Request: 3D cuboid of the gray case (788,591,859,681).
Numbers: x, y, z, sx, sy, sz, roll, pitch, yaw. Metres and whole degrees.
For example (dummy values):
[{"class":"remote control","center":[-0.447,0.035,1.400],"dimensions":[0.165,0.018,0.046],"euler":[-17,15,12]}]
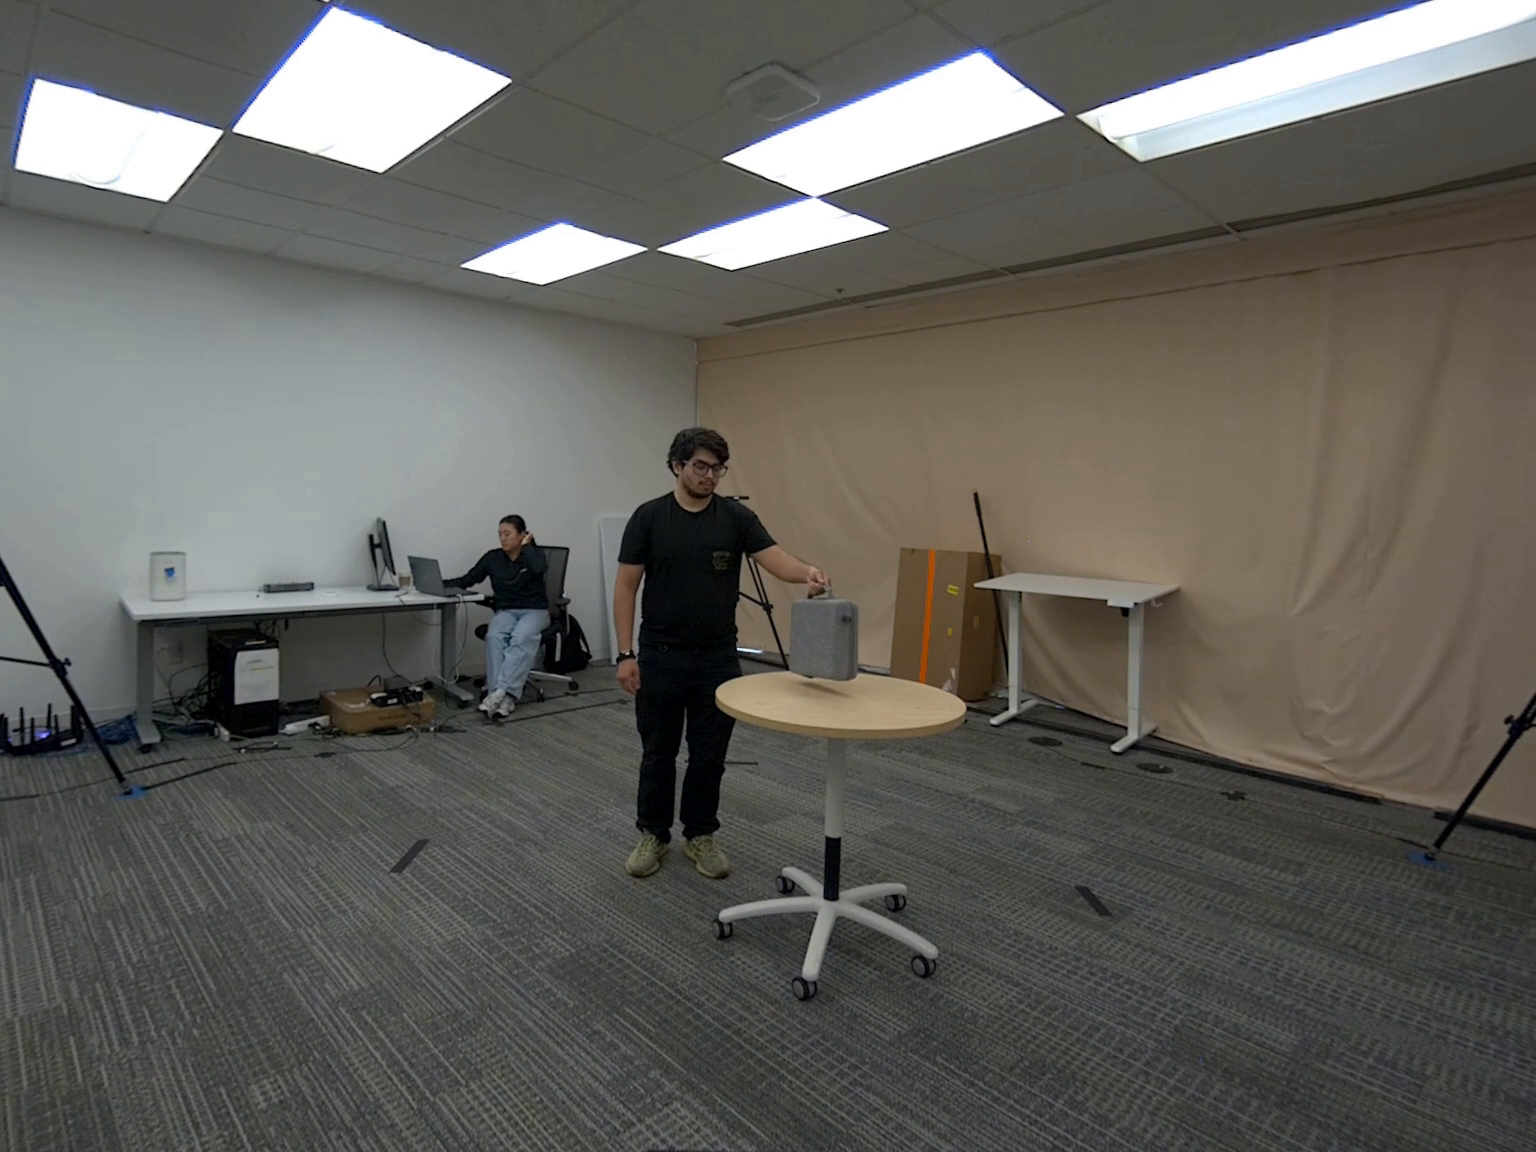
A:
[{"class":"gray case","center":[0.170,0.200,2.707],"dimensions":[0.102,0.261,0.262],"euler":[5,-4,-31]}]
